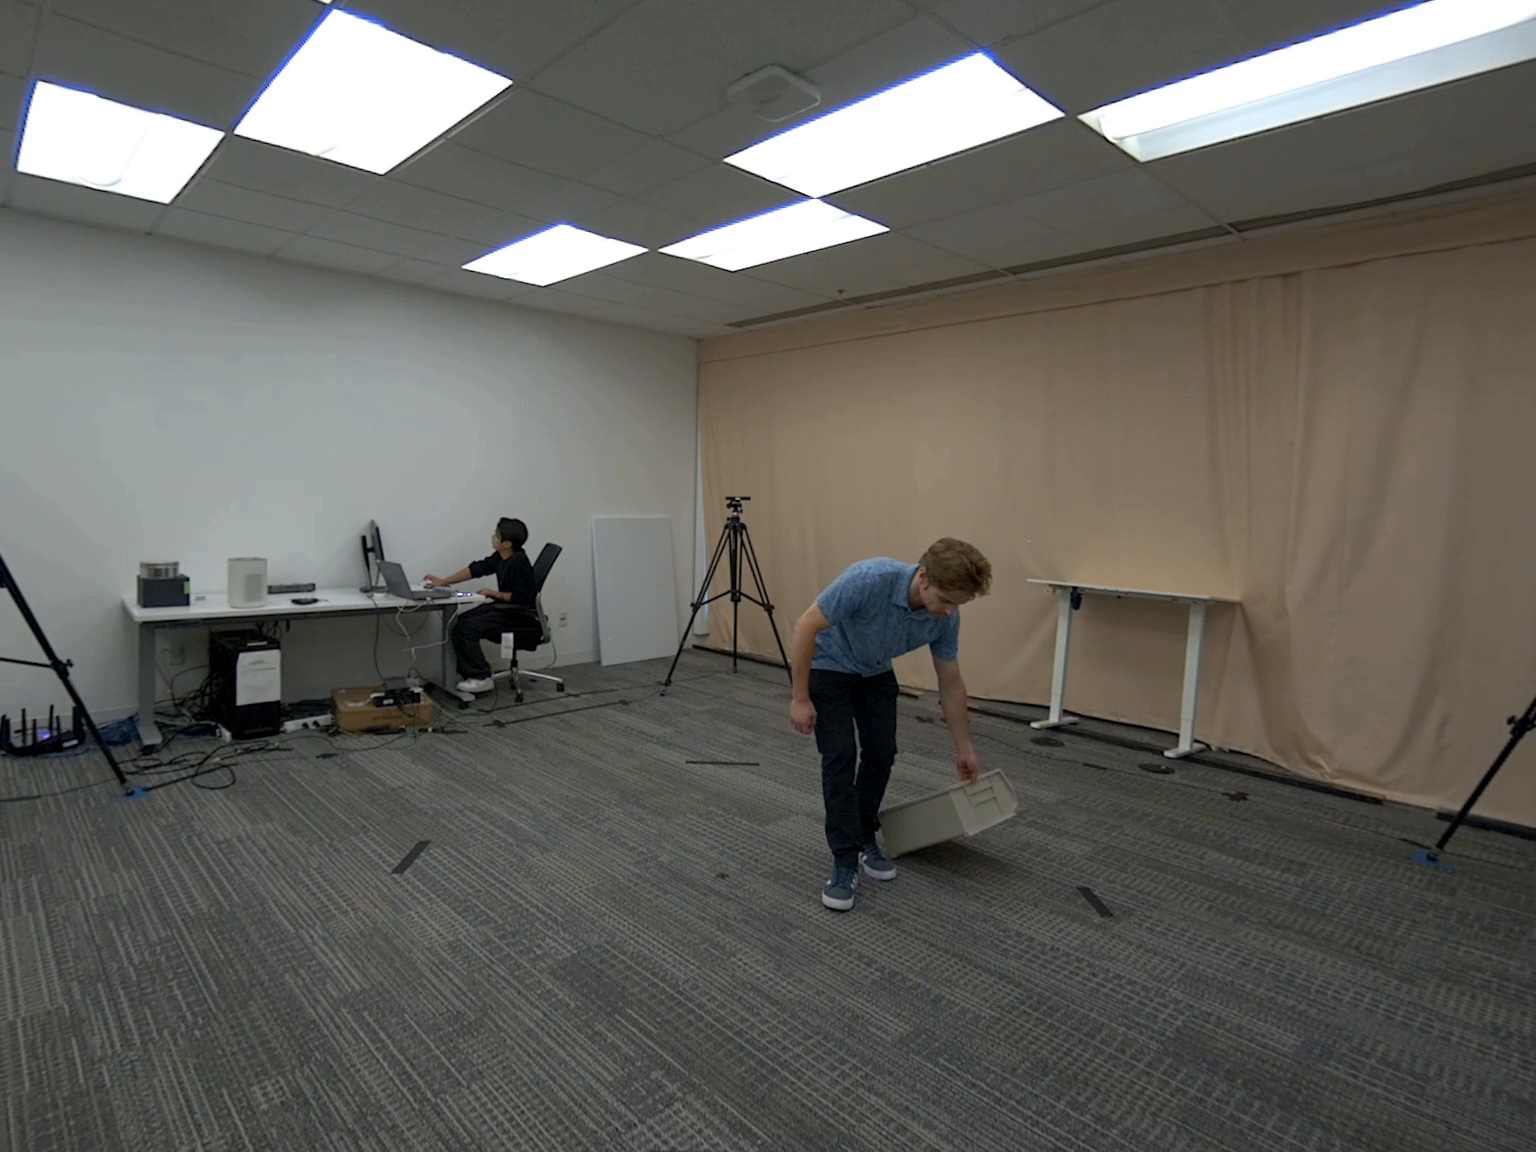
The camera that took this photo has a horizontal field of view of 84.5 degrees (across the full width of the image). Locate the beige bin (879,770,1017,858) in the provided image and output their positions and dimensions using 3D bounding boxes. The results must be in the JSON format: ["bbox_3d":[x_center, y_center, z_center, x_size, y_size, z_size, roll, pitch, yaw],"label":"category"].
[{"bbox_3d":[0.686,0.925,3.293,0.369,0.192,0.424,-4,-23,-42],"label":"beige bin"}]
